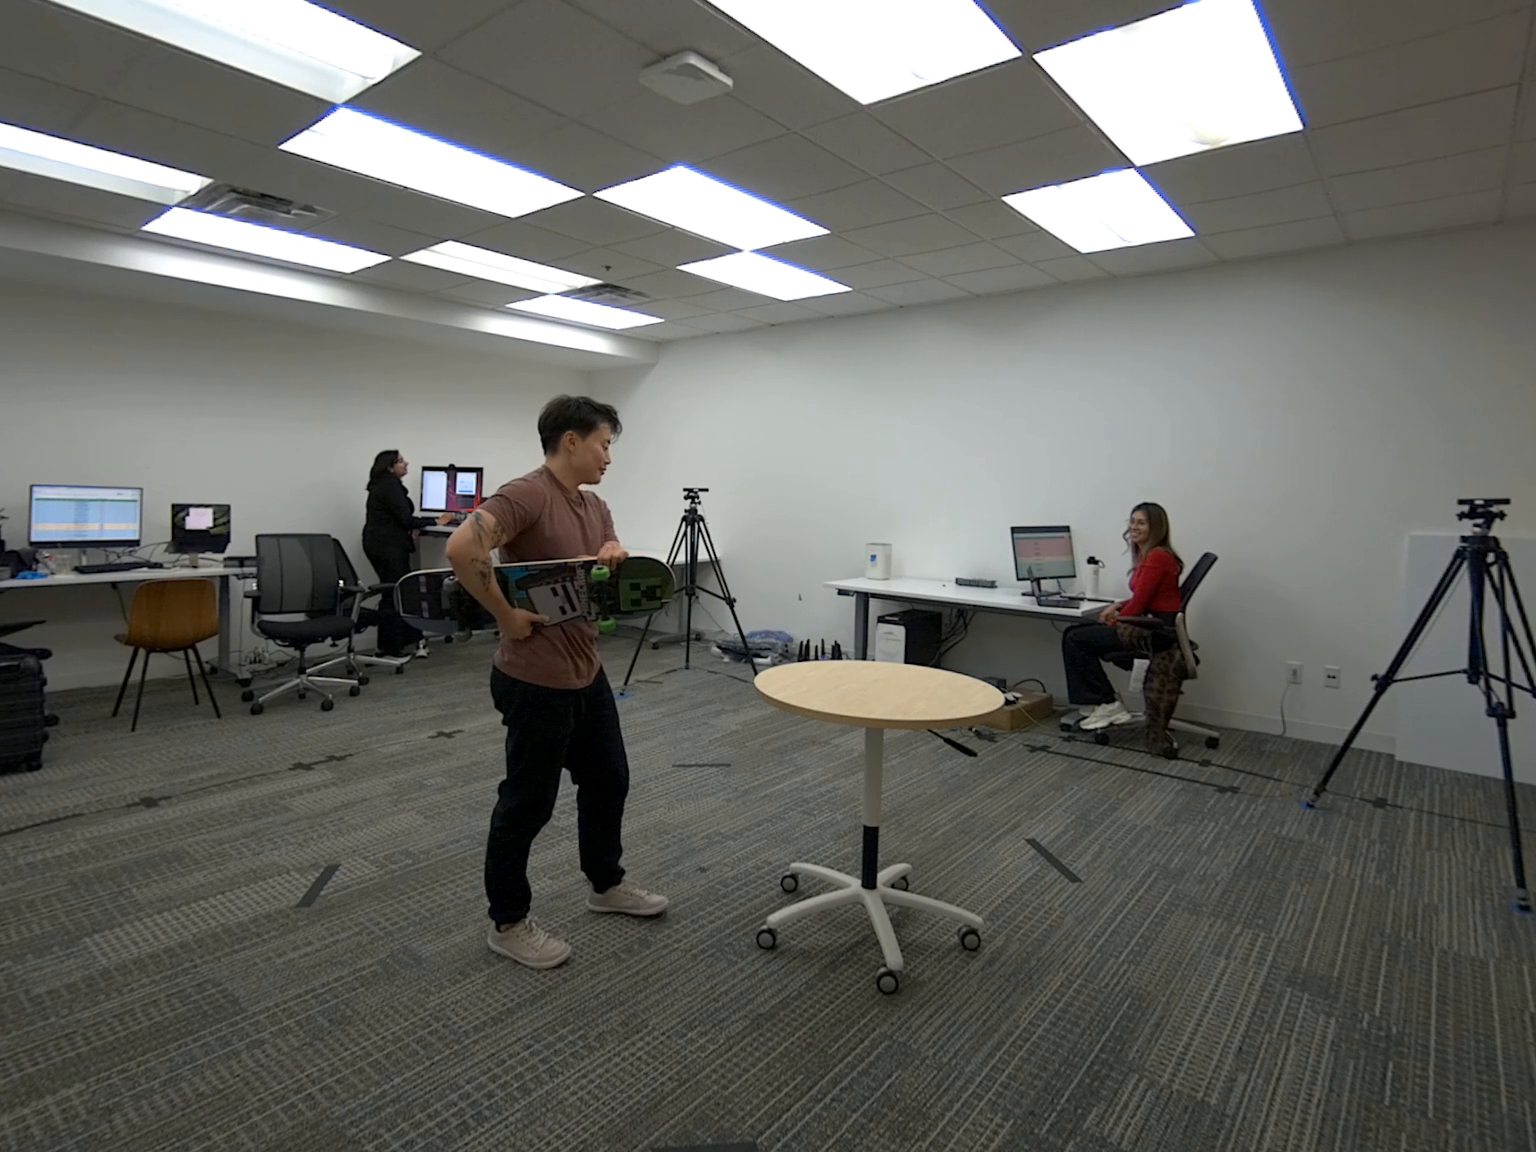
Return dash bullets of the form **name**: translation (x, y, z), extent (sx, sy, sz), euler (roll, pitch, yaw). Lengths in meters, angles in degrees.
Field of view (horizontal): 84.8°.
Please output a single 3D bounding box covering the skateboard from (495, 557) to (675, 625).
- **skateboard**: translation (-0.661, 0.064, 2.356), extent (0.785, 0.189, 0.113), euler (-4, 22, -1)
